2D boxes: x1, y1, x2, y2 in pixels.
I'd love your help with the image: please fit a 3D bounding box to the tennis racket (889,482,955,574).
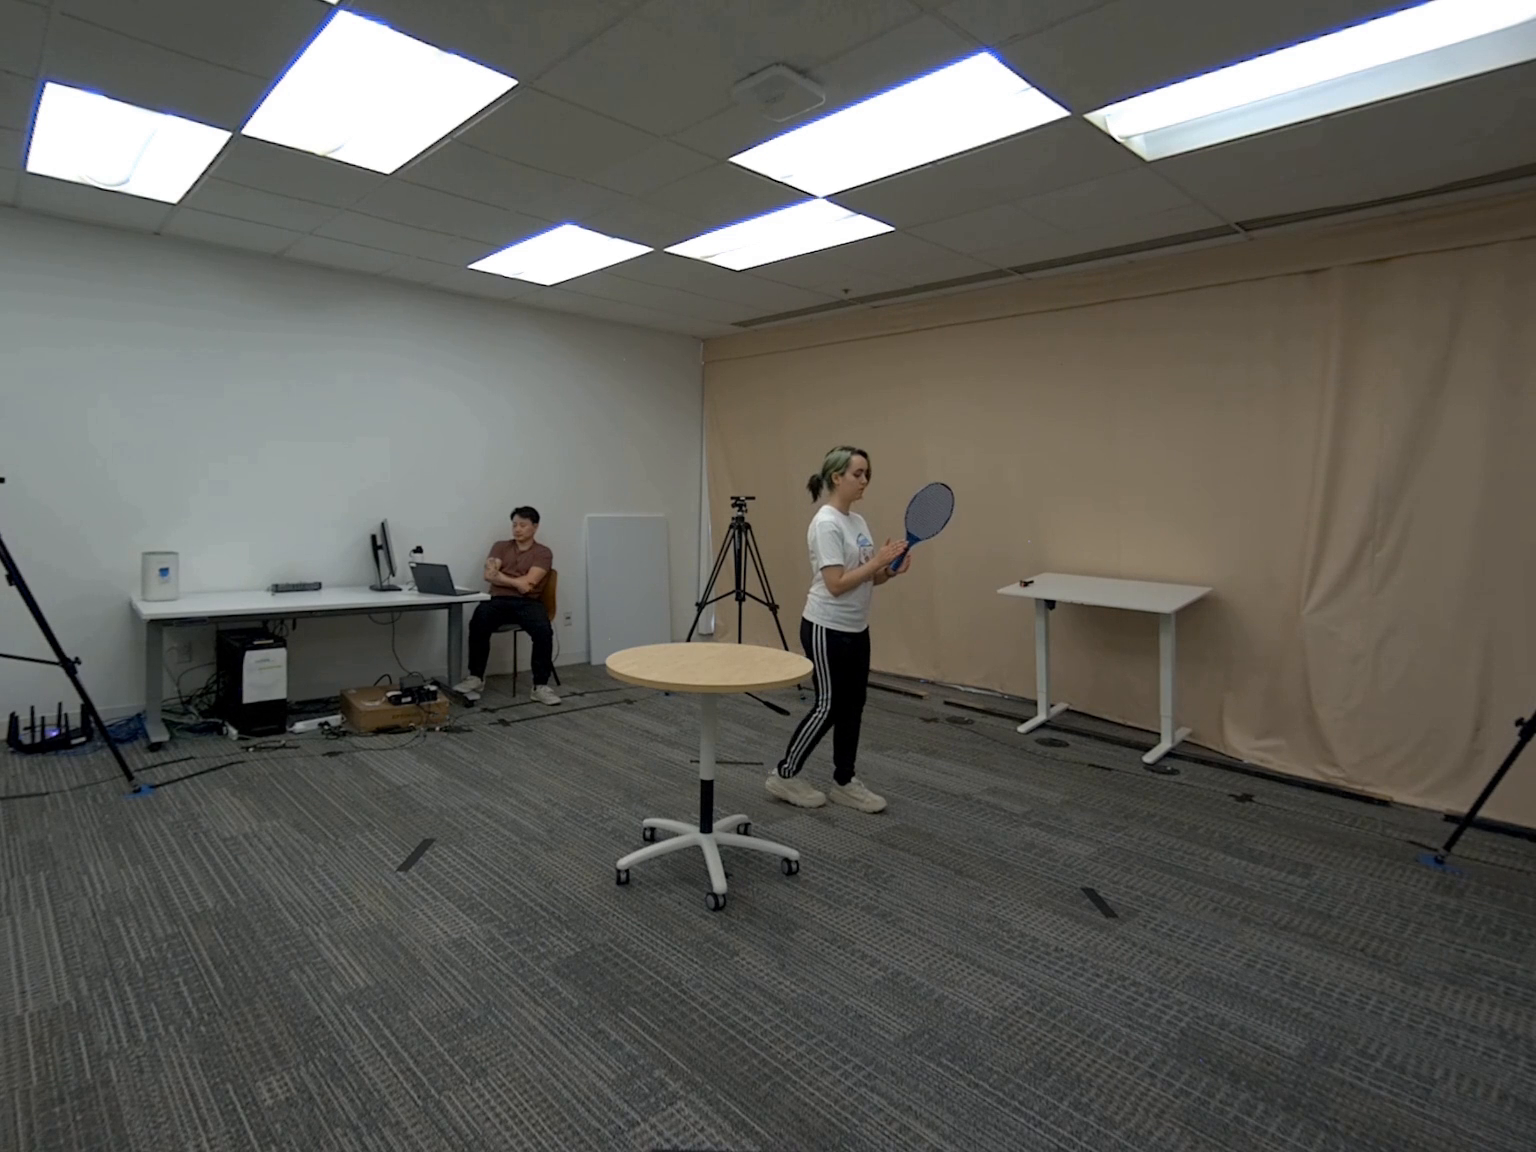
[{"bbox_3d":[0.646,-0.201,3.630,0.209,0.432,0.032,27,5,-21],"label":"tennis racket"}]
